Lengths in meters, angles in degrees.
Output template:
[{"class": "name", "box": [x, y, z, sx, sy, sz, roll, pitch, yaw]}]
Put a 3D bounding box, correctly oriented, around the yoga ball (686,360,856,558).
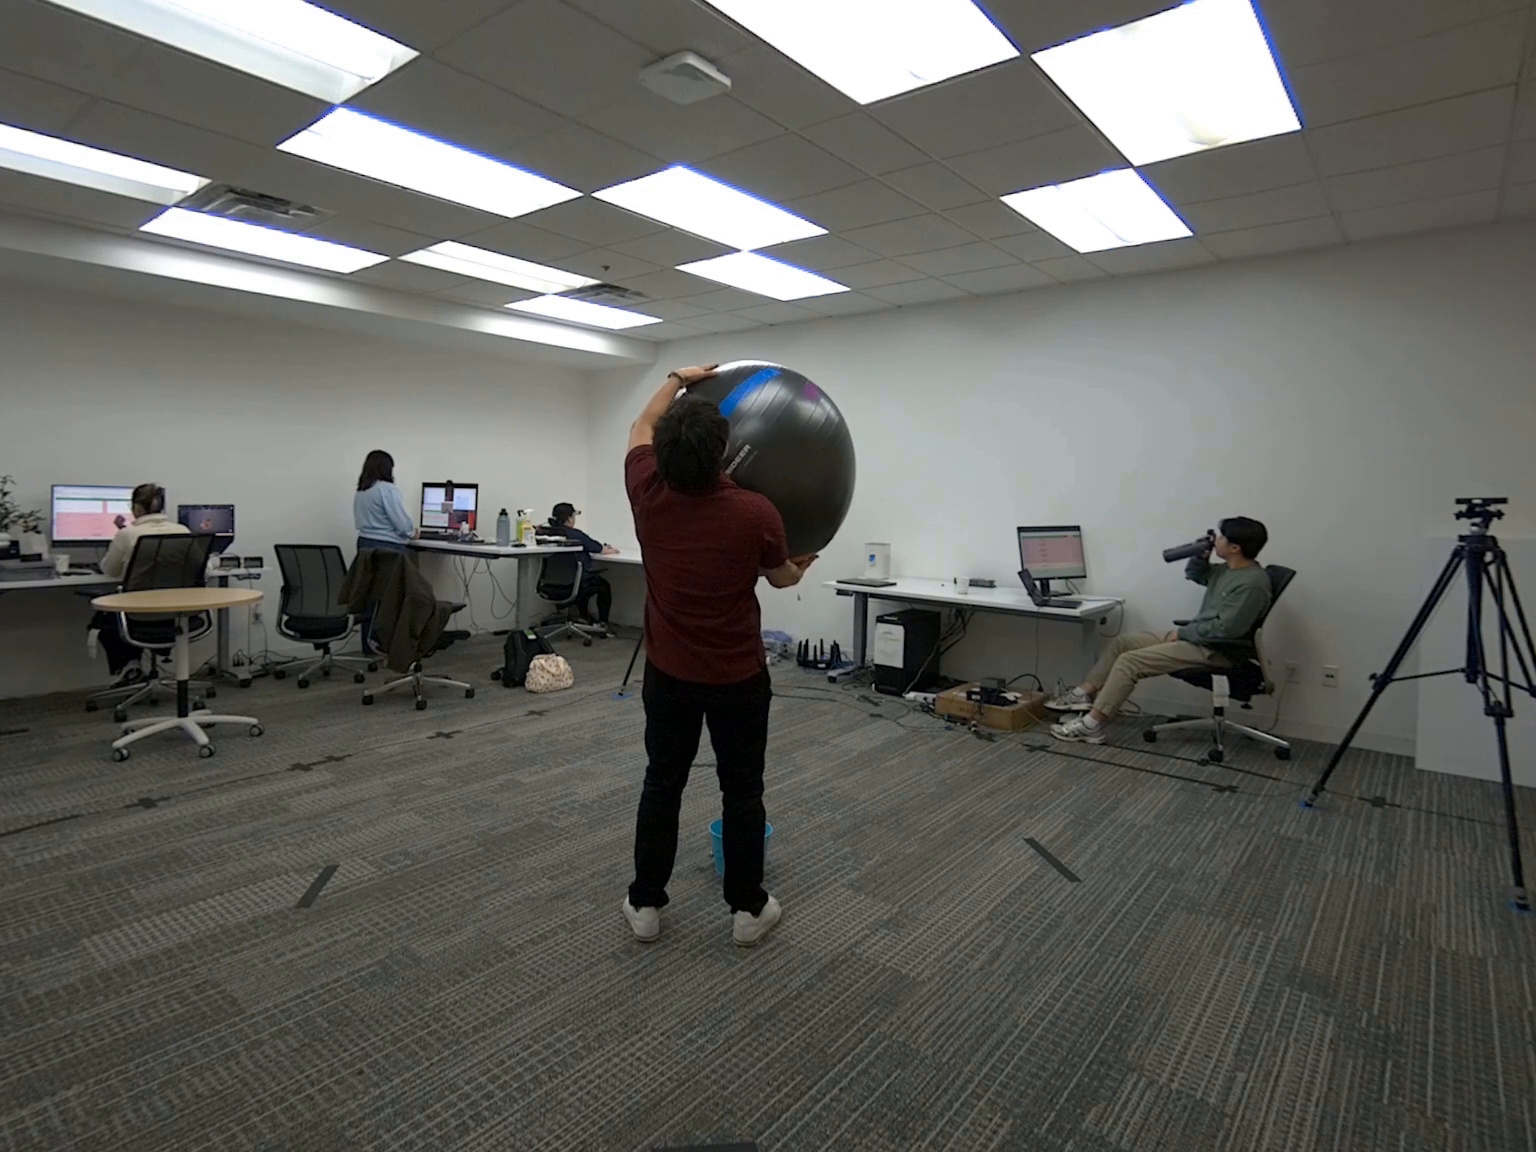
[{"class": "yoga ball", "box": [-0.077, -0.379, 2.991, 0.757, 0.756, 0.762, 1, 4, -2]}]
